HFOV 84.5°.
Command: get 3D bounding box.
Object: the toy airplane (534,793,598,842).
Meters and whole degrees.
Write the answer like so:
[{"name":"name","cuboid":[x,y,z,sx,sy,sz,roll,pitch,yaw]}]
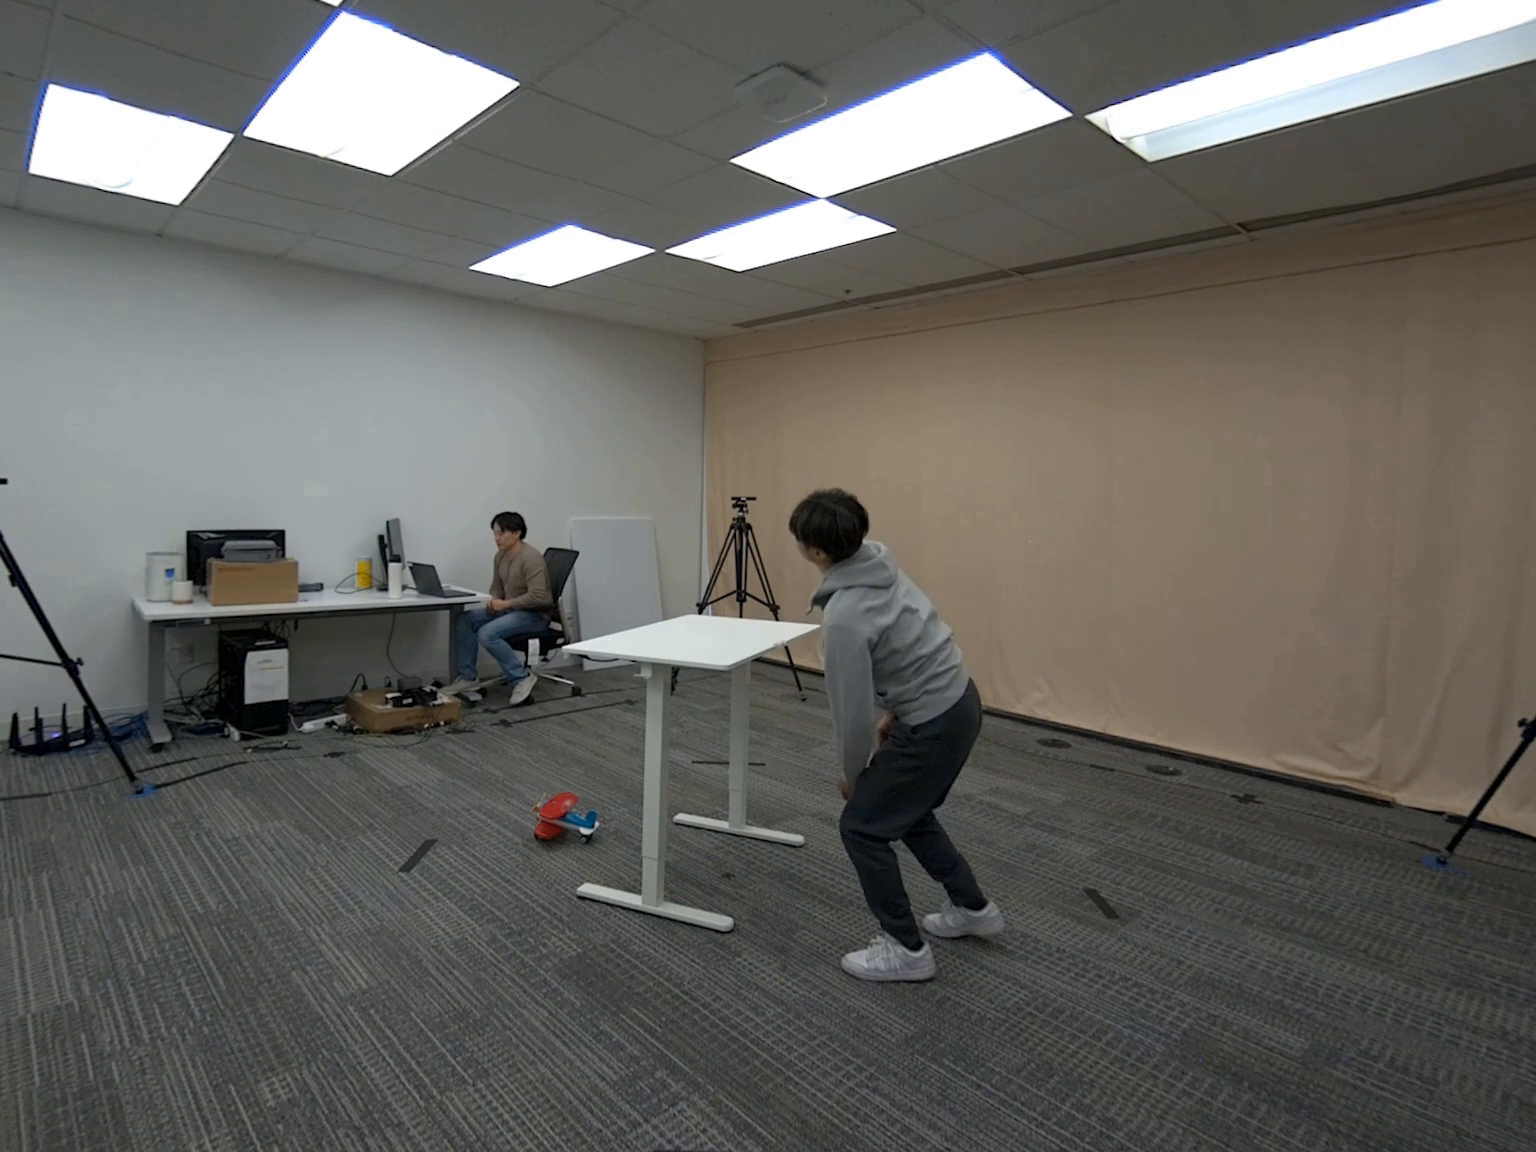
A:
[{"name":"toy airplane","cuboid":[-0.831,0.992,3.421,0.256,0.156,0.255,-1,5,-16]}]
